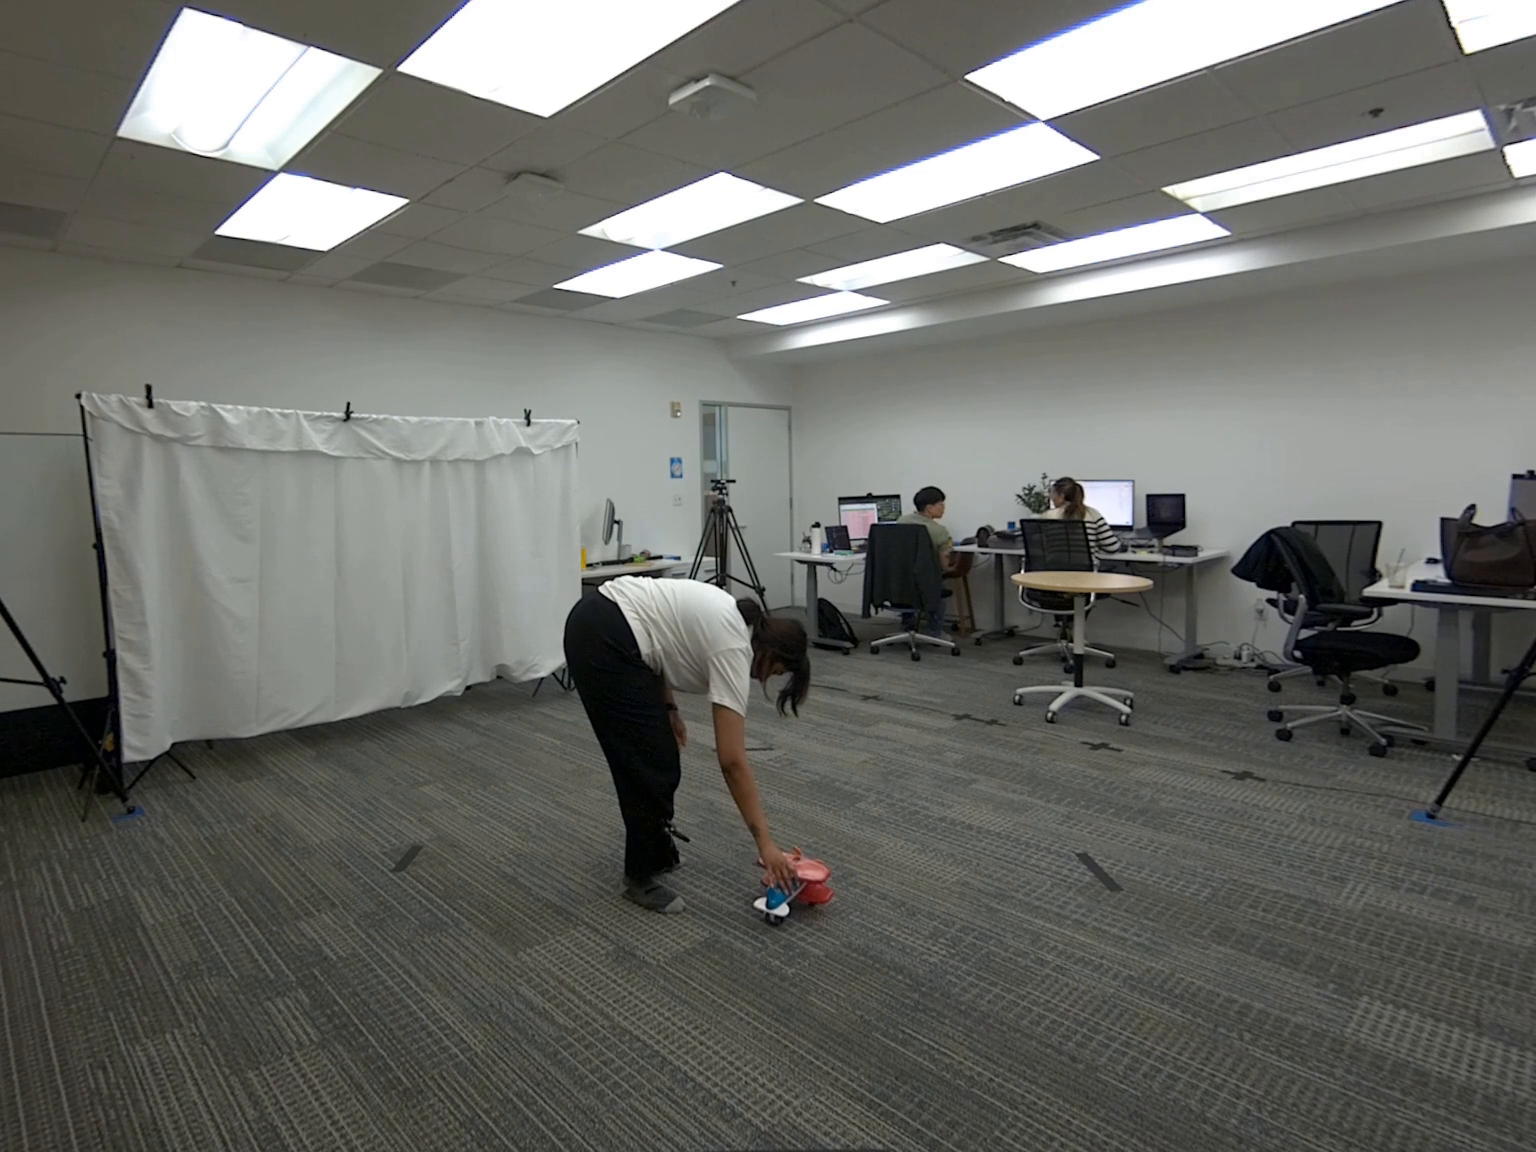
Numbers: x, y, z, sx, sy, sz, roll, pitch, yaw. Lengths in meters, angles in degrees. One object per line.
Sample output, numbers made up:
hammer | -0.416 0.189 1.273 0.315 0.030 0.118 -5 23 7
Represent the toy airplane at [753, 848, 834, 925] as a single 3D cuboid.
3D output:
toy airplane | 0.093 1.015 2.749 0.253 0.156 0.259 0 5 5
